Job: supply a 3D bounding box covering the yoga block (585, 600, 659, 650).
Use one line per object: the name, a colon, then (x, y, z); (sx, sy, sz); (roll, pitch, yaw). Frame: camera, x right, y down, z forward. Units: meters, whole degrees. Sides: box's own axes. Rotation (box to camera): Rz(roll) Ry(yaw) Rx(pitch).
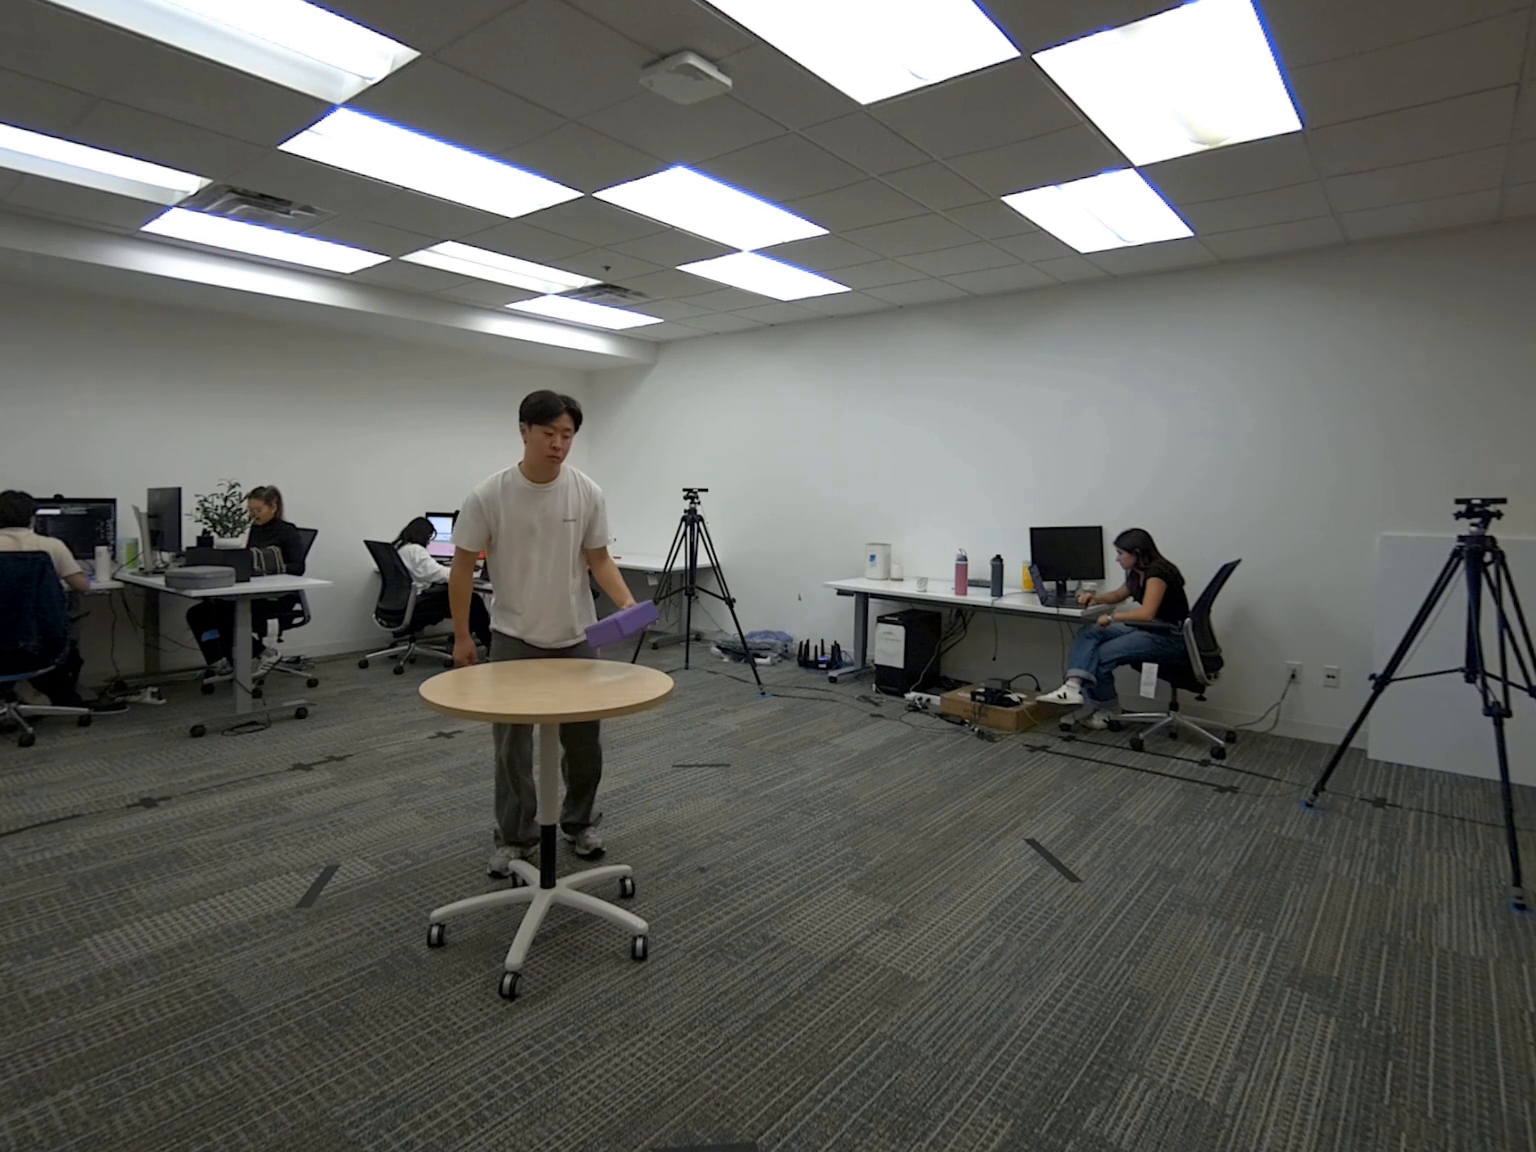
yoga block: (-0.464, 0.173, 2.841); (0.152, 0.076, 0.226); (-17, 8, 30)
